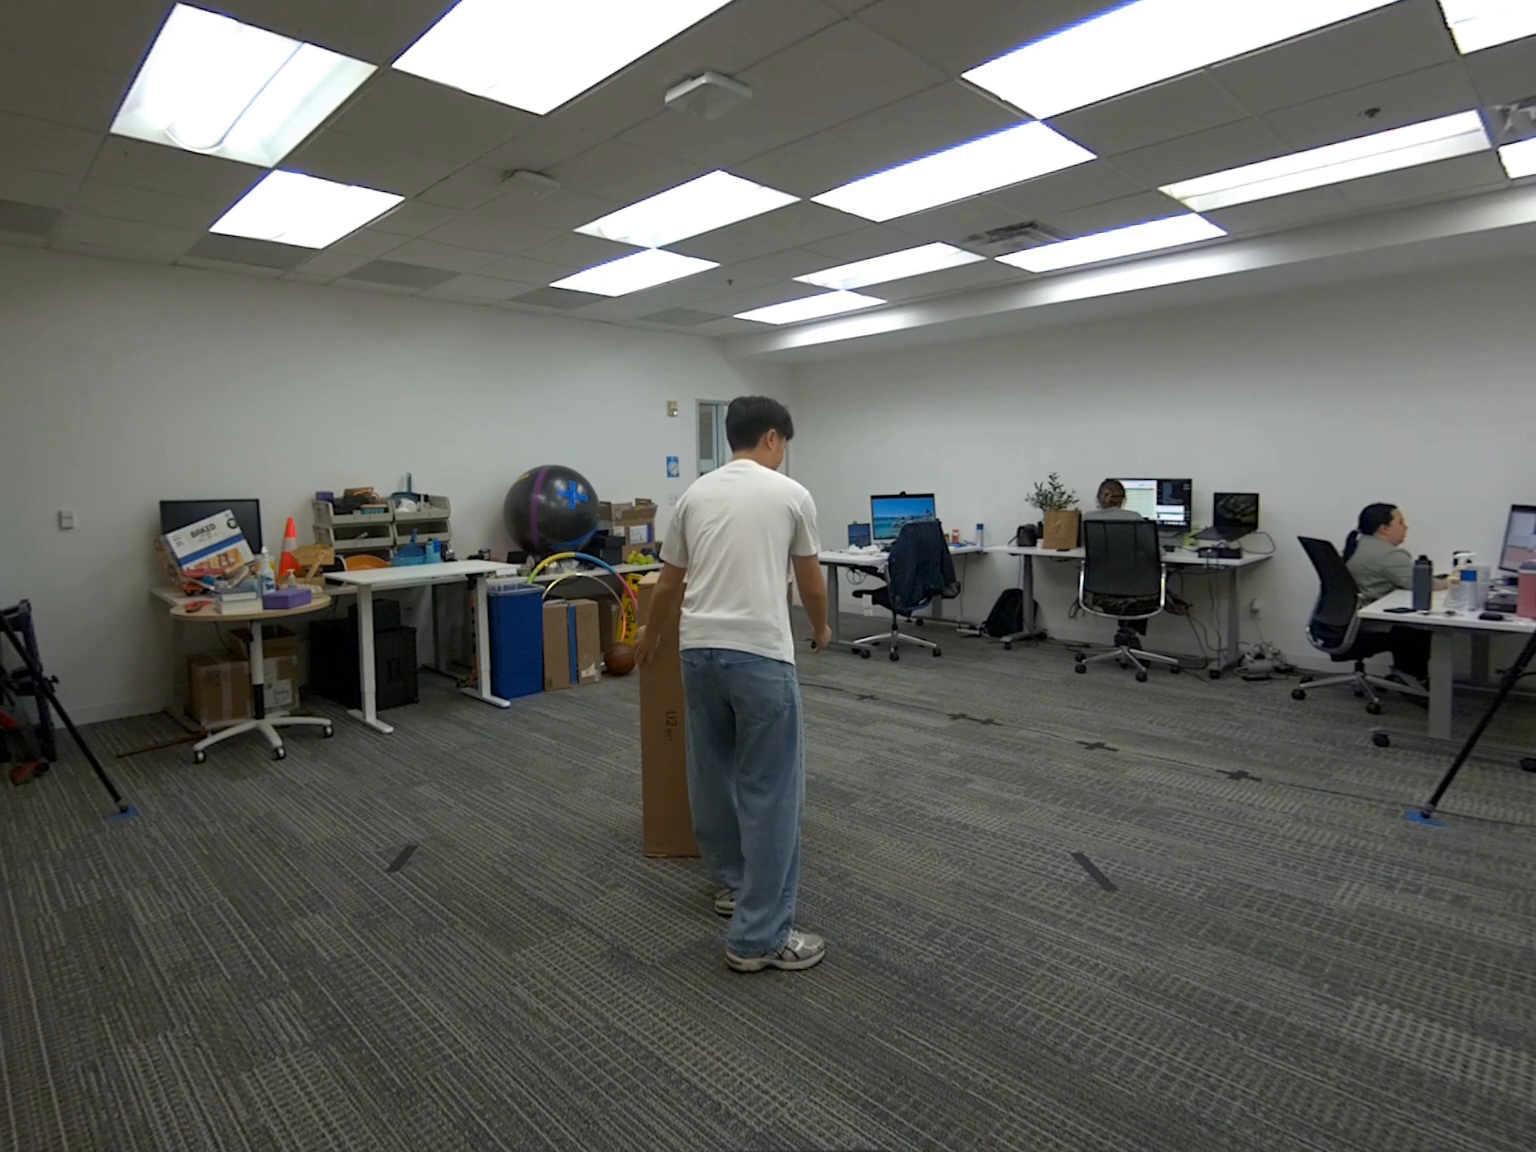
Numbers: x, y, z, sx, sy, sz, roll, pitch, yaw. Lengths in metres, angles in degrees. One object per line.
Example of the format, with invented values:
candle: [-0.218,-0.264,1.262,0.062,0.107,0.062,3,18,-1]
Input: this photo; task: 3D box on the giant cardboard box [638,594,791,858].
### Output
giant cardboard box: [-0.185,0.509,3.348,0.578,1.023,0.427,-1,3,0]
